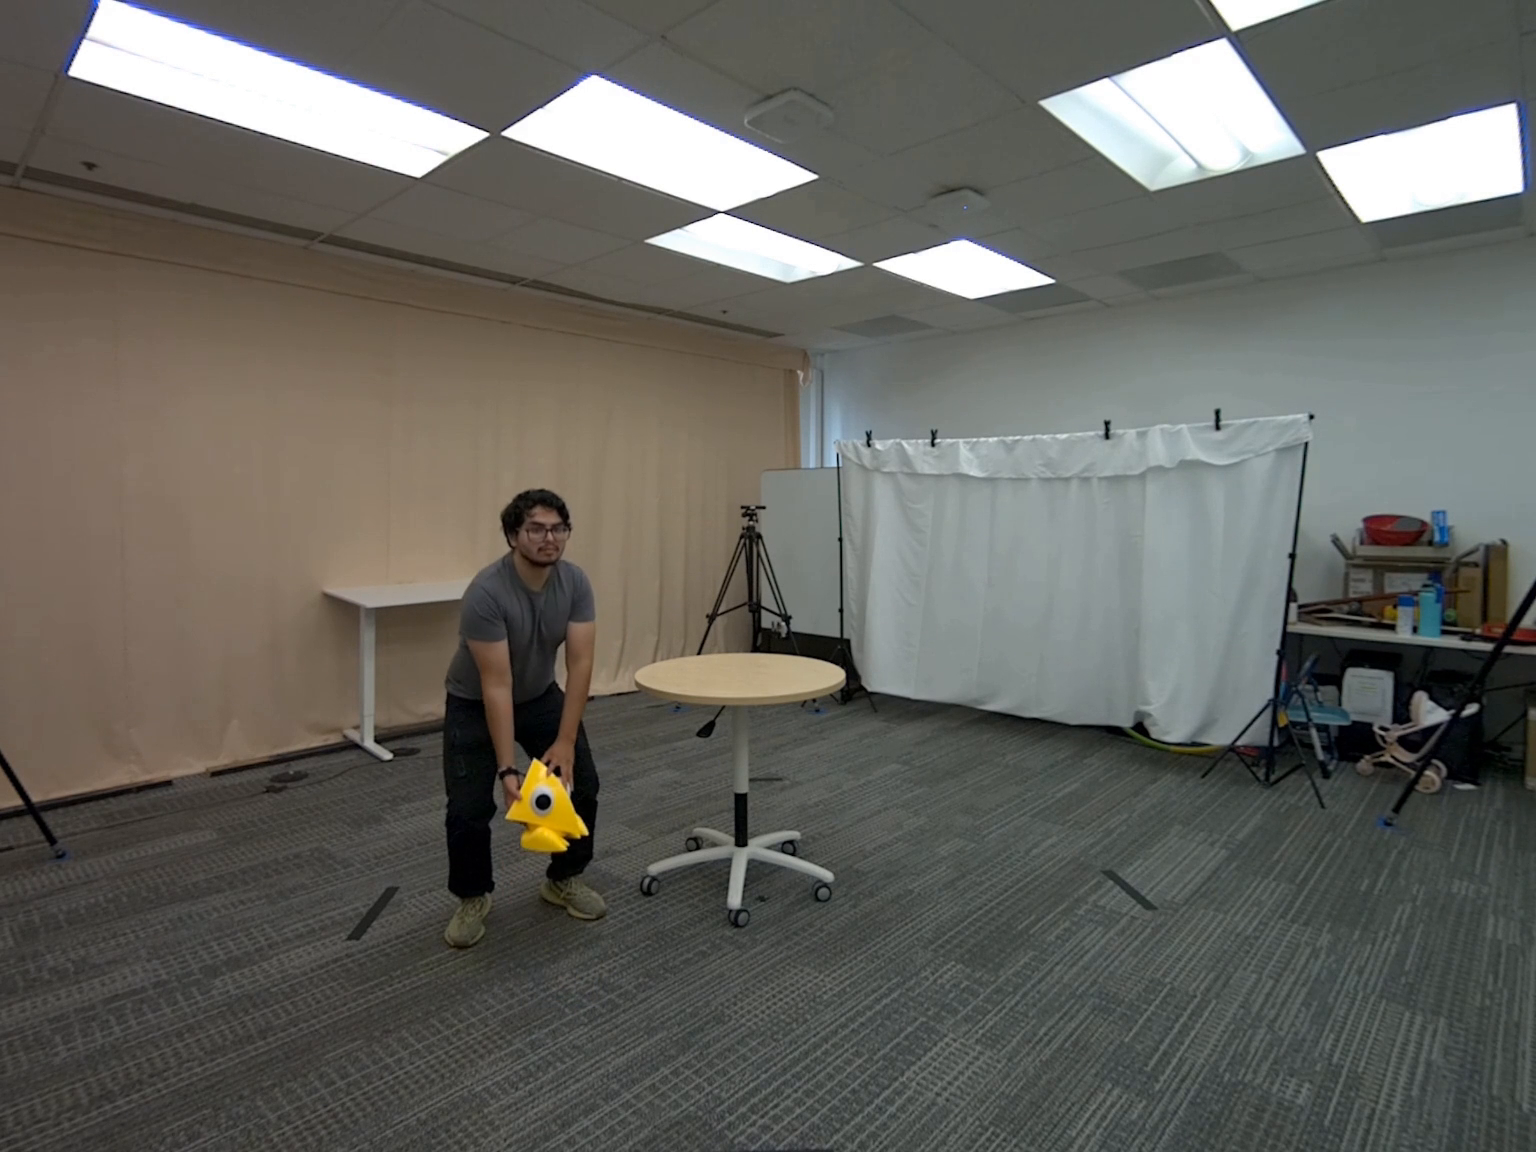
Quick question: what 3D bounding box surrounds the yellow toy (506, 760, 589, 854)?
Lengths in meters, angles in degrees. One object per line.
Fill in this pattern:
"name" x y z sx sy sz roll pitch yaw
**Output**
"yellow toy" -0.640 0.662 2.480 0.197 0.230 0.201 1 2 18
